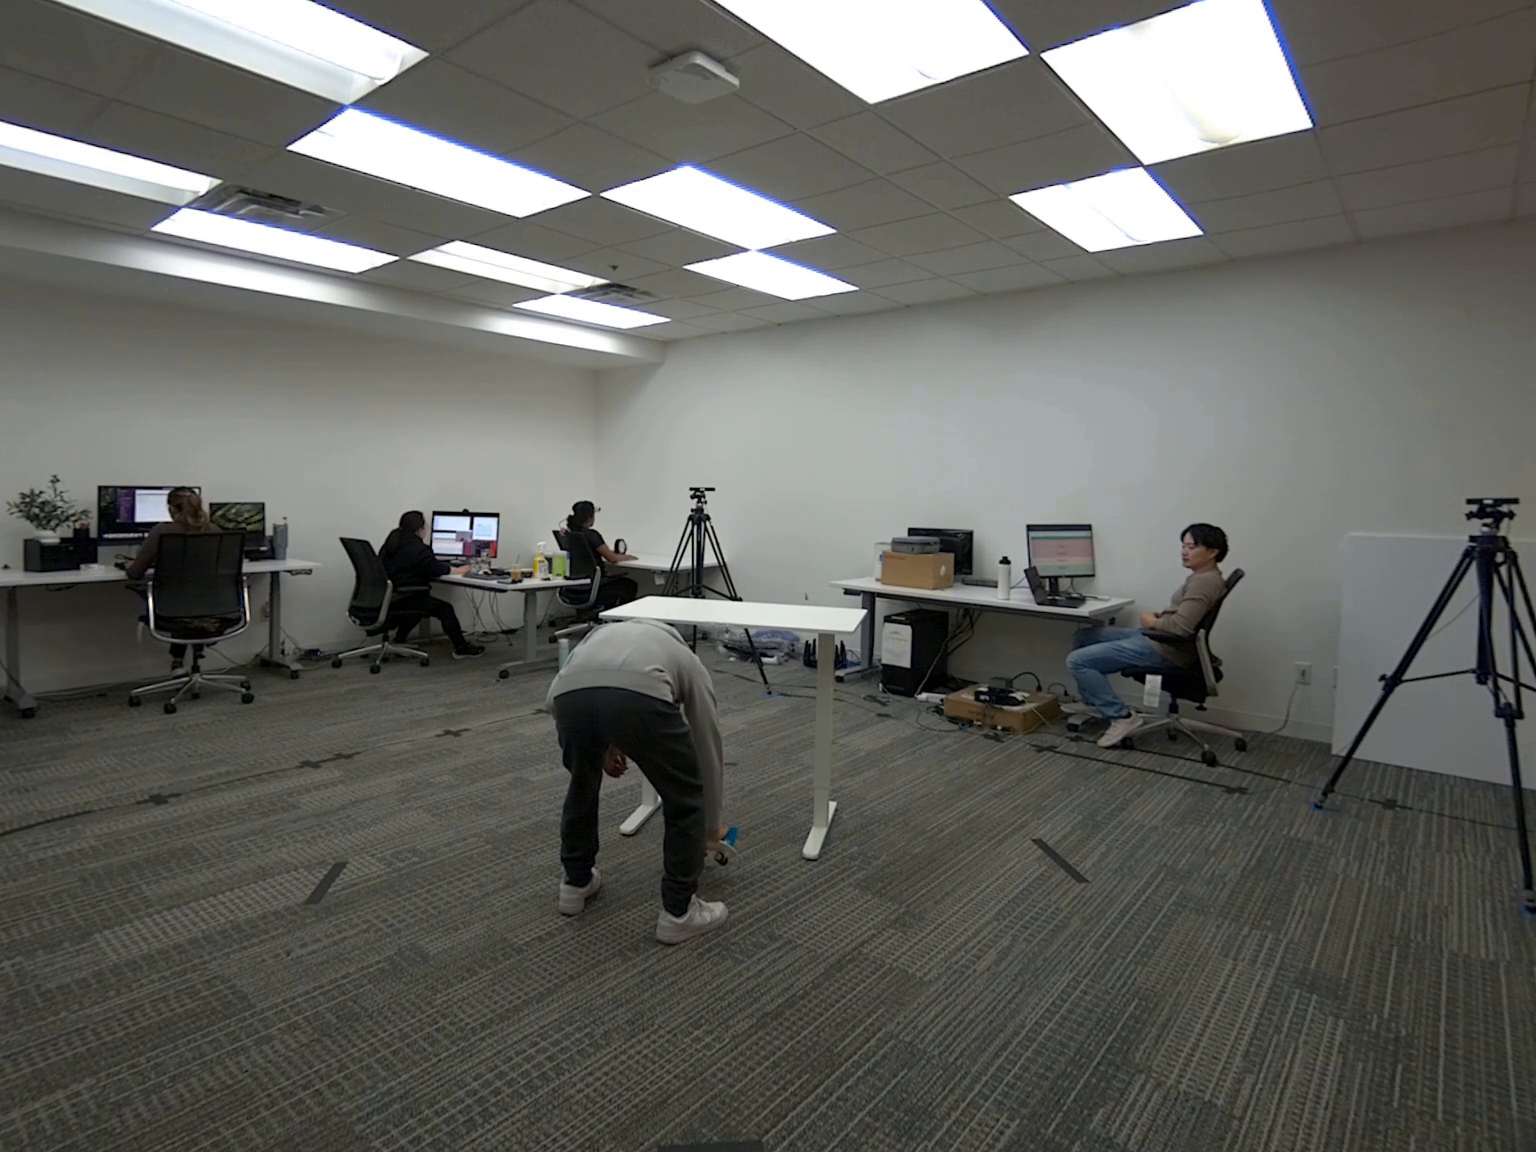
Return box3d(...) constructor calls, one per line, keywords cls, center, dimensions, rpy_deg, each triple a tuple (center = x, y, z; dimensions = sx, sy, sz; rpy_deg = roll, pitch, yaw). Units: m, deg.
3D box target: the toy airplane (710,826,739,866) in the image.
box3d(cls="toy airplane", center=(-0.238, 0.934, 3.030), dimensions=(0.259, 0.159, 0.246), rpy_deg=(13, -33, -1))
